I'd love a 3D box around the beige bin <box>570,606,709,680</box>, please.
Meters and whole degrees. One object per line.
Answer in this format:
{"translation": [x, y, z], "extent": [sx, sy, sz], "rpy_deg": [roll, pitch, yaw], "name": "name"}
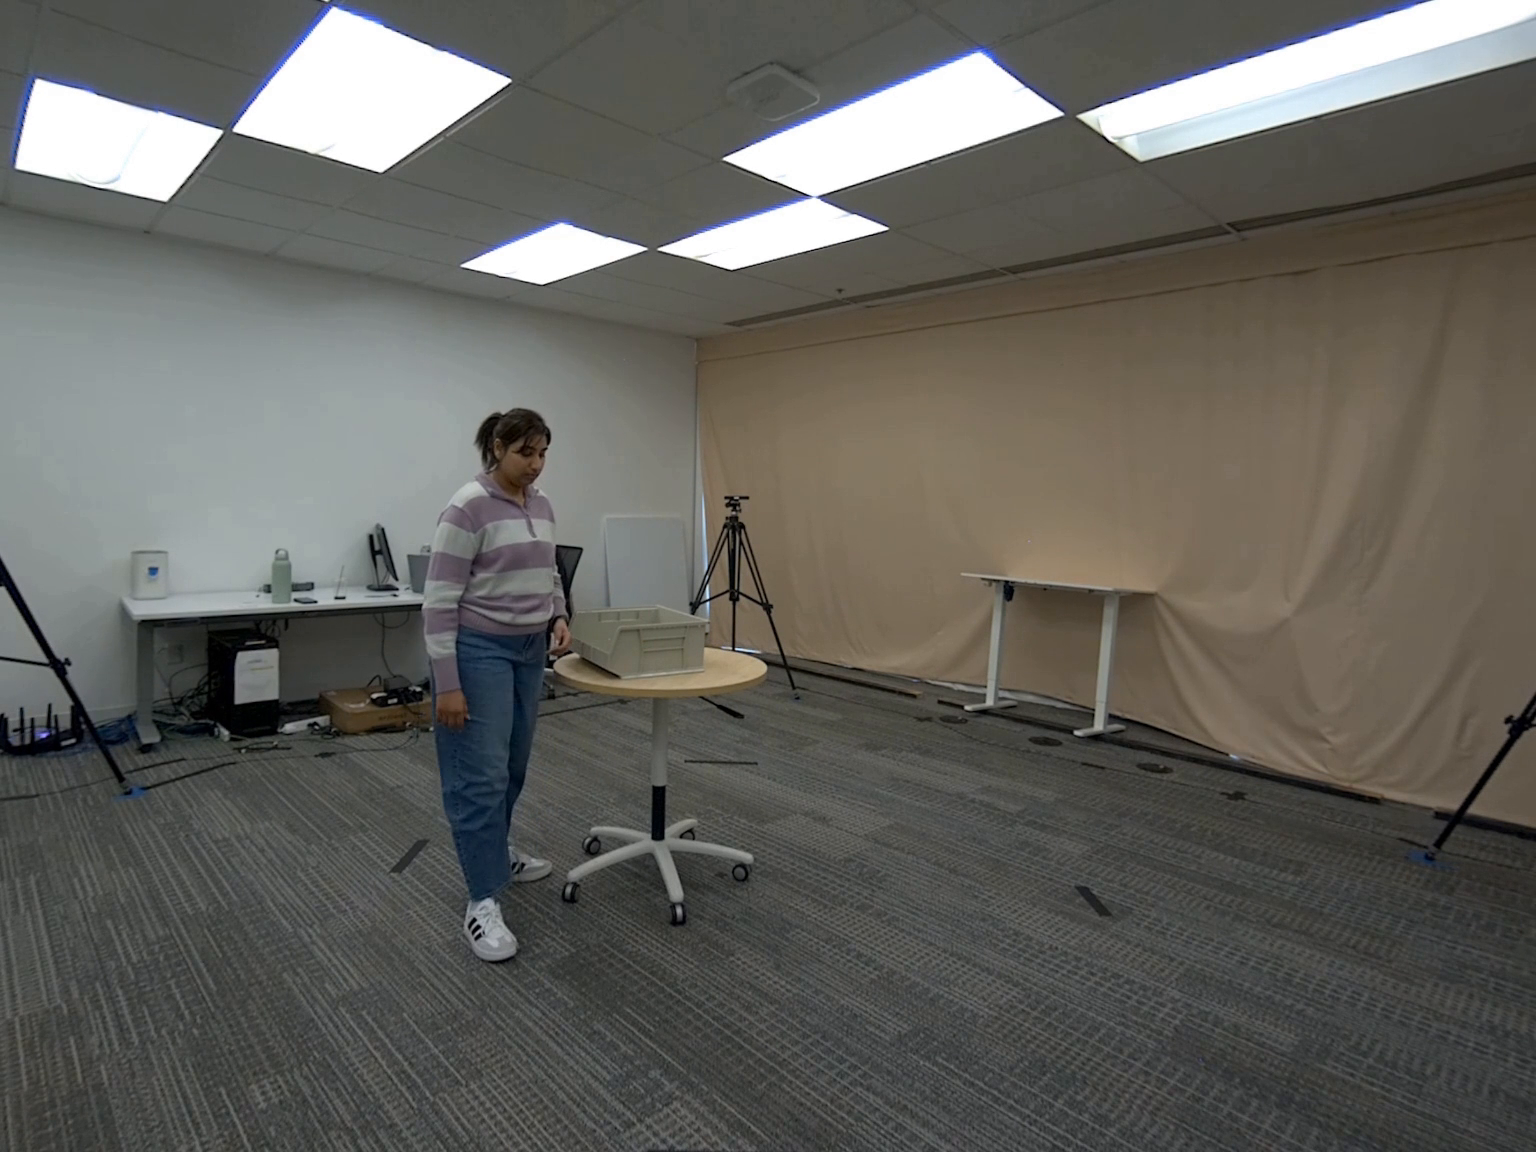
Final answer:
{"translation": [-0.482, 0.231, 3.012], "extent": [0.369, 0.188, 0.432], "rpy_deg": [0, 4, -31], "name": "beige bin"}
